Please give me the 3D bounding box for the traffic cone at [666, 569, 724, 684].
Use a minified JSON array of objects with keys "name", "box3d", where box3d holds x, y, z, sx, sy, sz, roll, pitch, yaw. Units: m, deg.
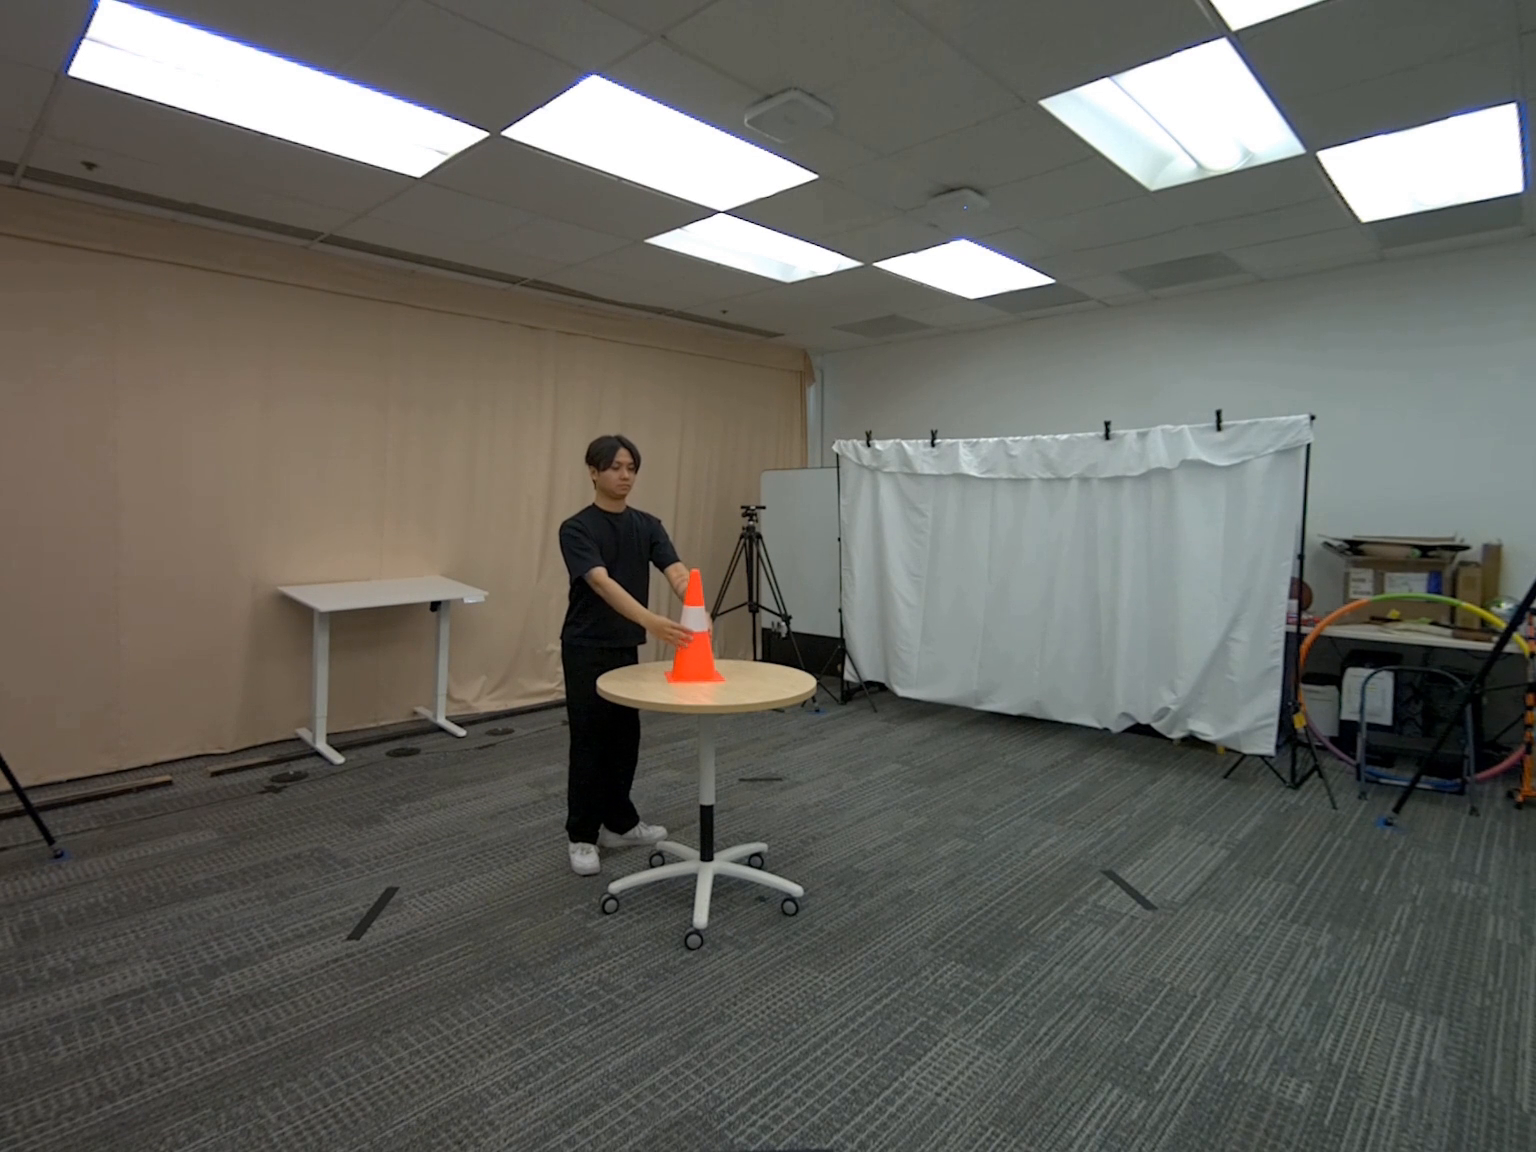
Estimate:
[{"name":"traffic cone","box3d":[-0.259,0.168,2.984,0.203,0.383,0.206,0,4,-9]}]
